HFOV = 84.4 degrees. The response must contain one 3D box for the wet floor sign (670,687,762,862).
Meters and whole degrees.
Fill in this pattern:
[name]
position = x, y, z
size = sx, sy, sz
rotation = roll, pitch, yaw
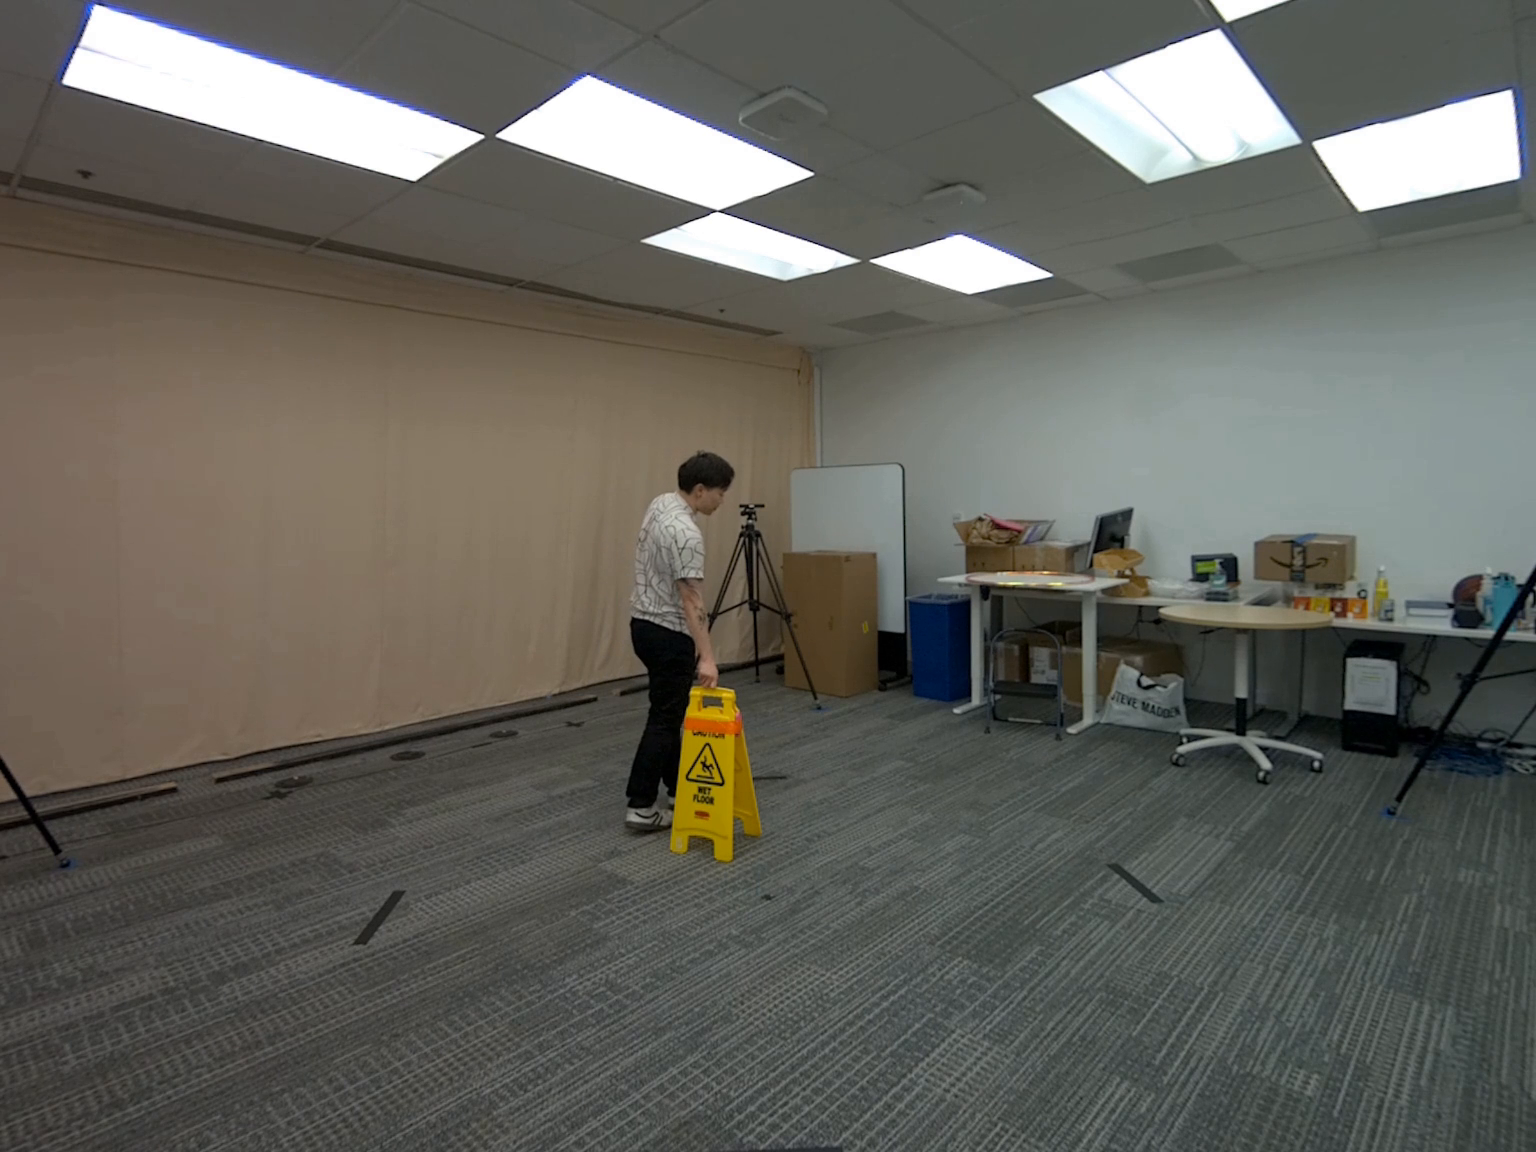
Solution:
[wet floor sign]
position = -0.218, 0.780, 3.454
size = 0.289, 0.645, 0.283
rotation = -1, 4, 25
